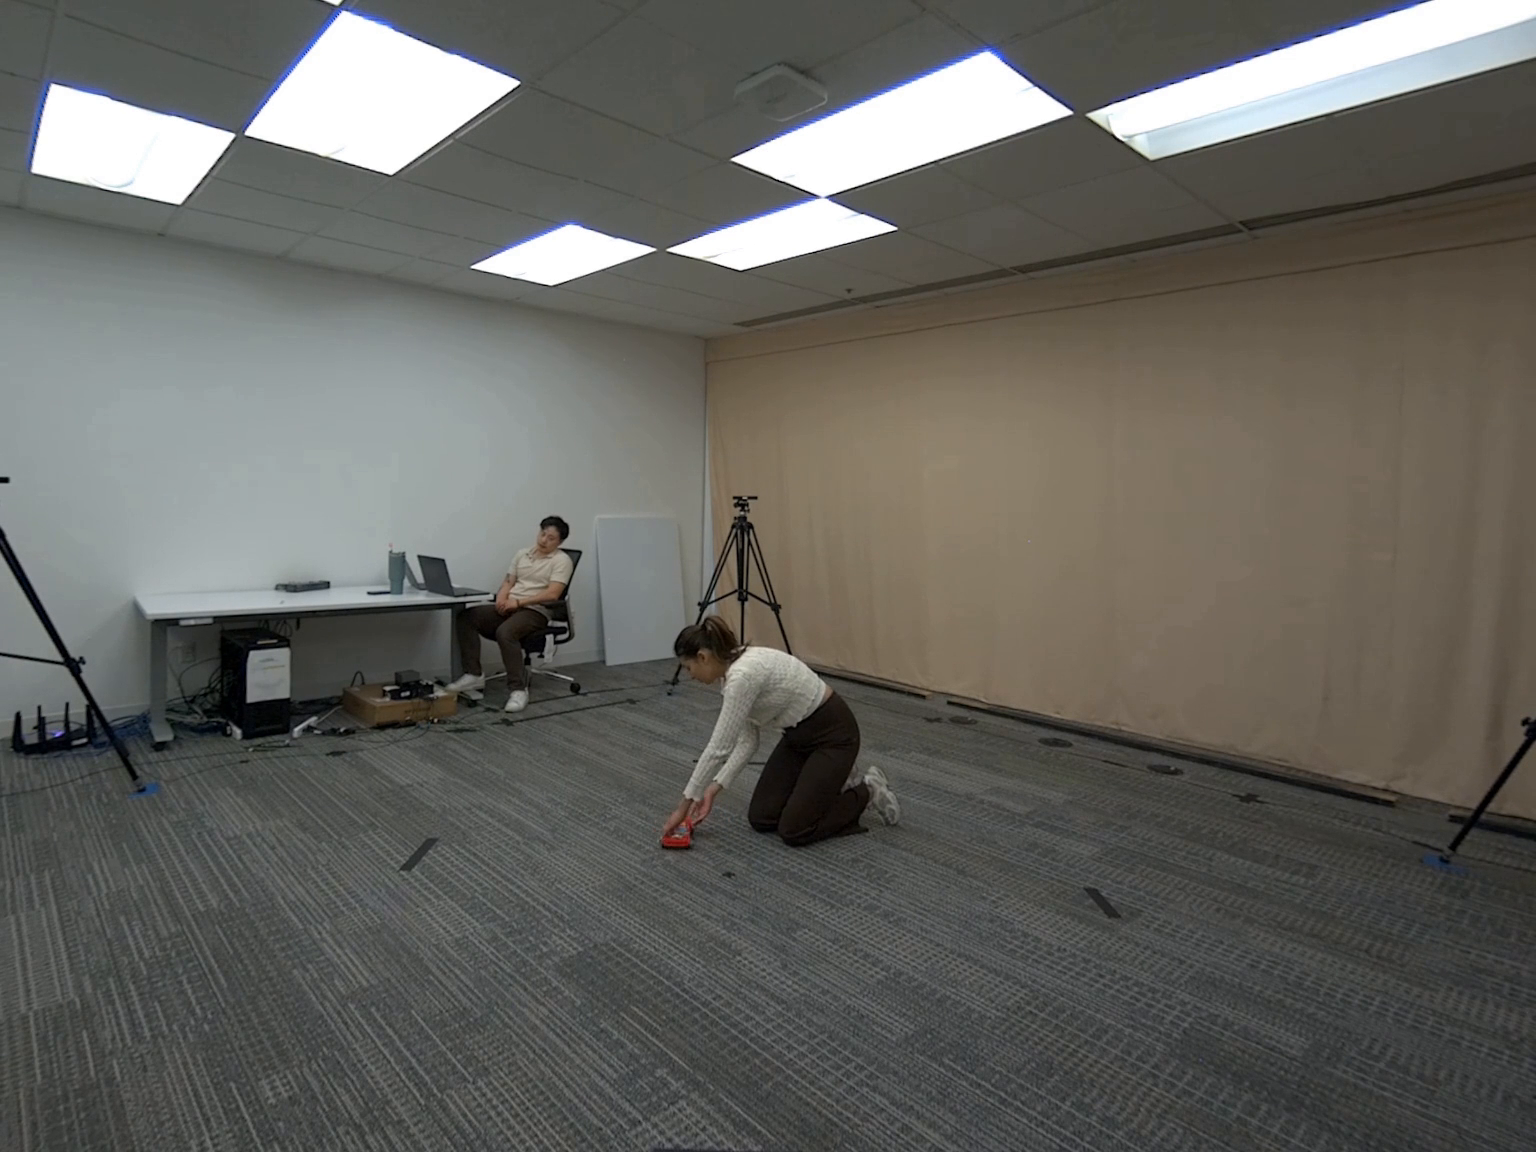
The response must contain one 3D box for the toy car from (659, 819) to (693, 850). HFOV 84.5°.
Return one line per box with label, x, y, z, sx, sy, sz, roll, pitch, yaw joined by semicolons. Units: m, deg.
toy car;-0.372;1.039;3.424;0.130;0.082;0.258;1;15;-3
